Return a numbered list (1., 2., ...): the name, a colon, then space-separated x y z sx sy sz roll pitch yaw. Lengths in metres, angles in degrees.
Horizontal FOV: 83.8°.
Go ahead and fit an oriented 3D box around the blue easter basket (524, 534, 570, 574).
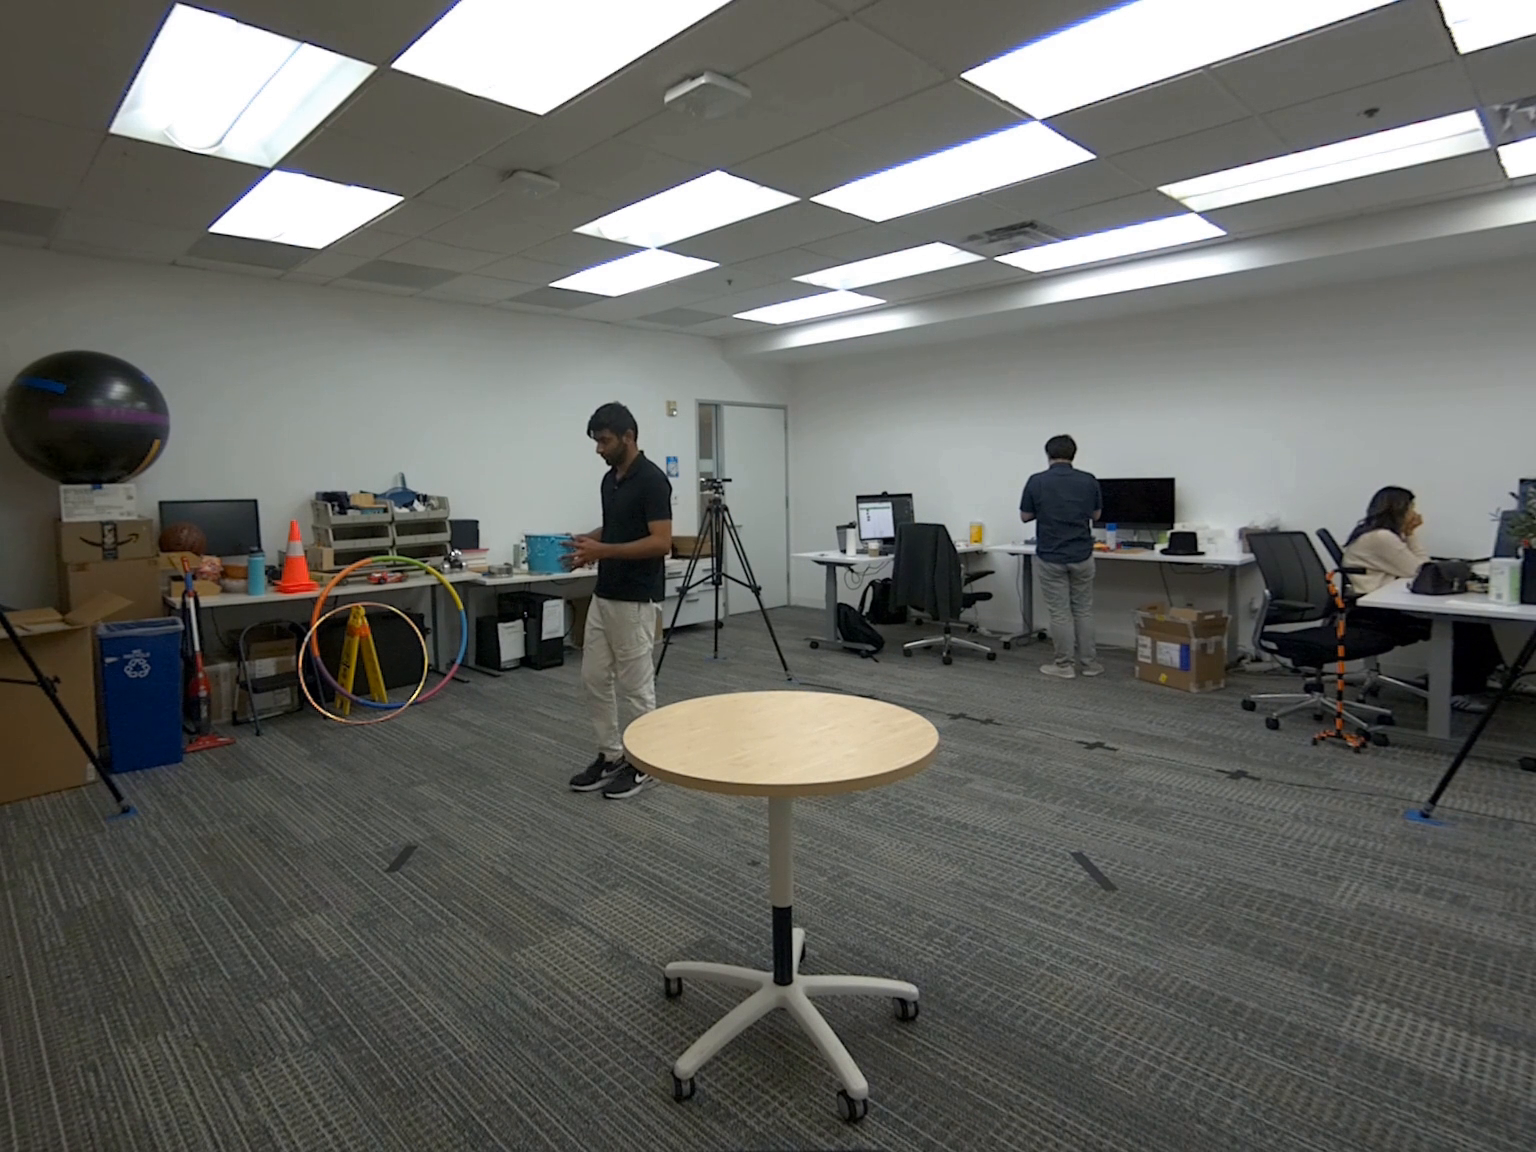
1. blue easter basket: -0.921 -0.091 3.593 0.243 0.156 0.244 2 2 -2
